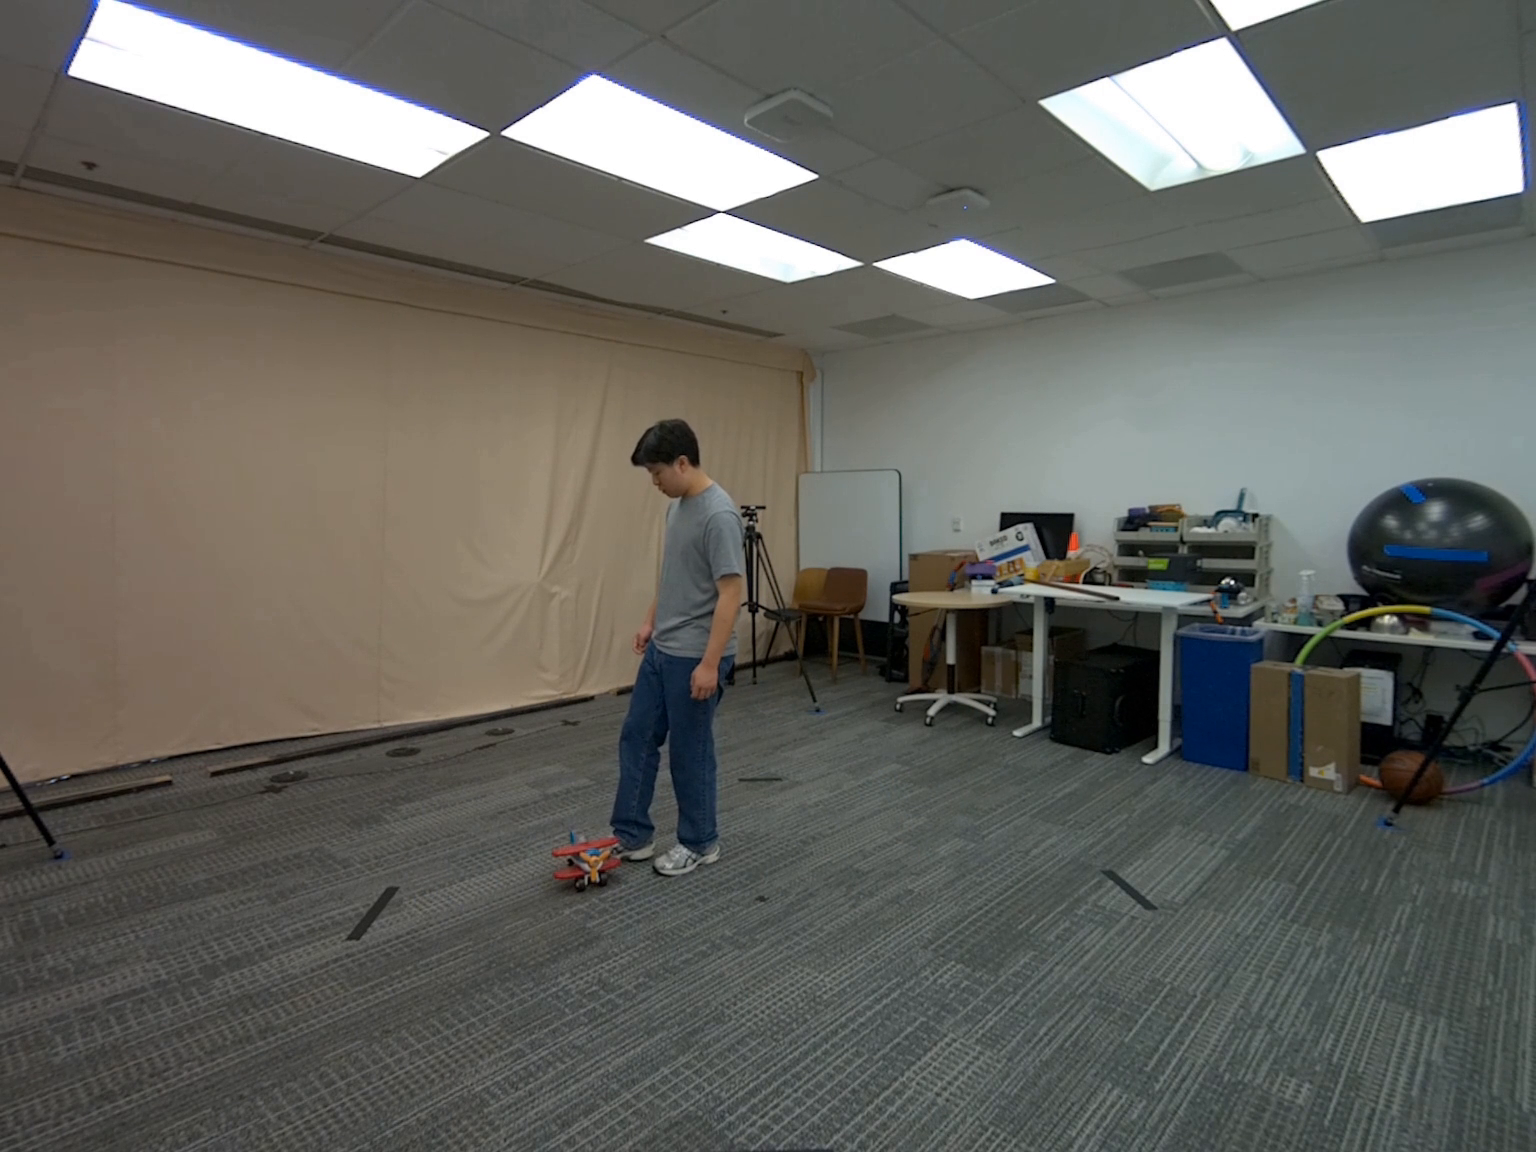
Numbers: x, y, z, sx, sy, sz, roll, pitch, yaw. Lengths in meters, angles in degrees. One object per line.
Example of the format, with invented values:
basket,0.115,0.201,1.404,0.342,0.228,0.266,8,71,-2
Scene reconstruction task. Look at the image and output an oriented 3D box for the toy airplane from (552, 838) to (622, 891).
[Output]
toy airplane,-0.706,1.056,3.126,0.267,0.156,0.245,8,10,29
